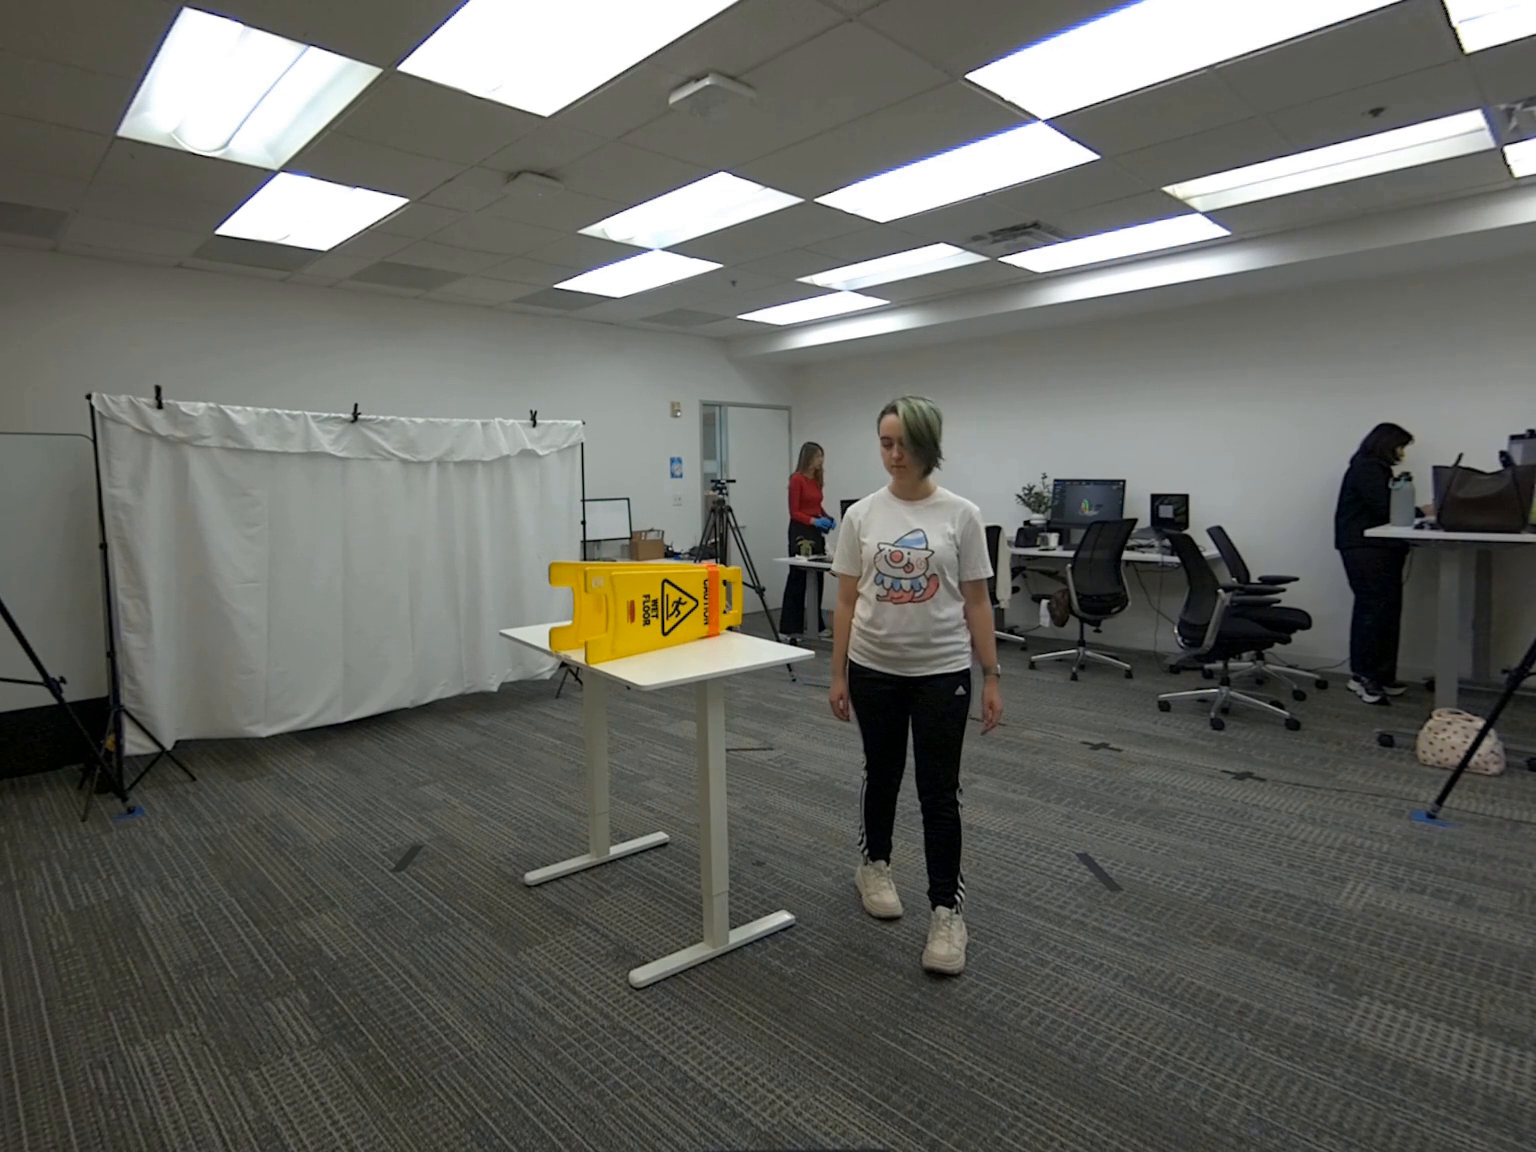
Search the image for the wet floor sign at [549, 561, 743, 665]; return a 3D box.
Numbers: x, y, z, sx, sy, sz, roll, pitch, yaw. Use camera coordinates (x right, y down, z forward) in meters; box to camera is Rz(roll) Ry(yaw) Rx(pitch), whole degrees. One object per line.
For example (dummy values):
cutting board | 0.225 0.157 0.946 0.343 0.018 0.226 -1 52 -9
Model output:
wet floor sign | -0.341 0.087 2.721 0.629 0.281 0.299 -4 7 -37
